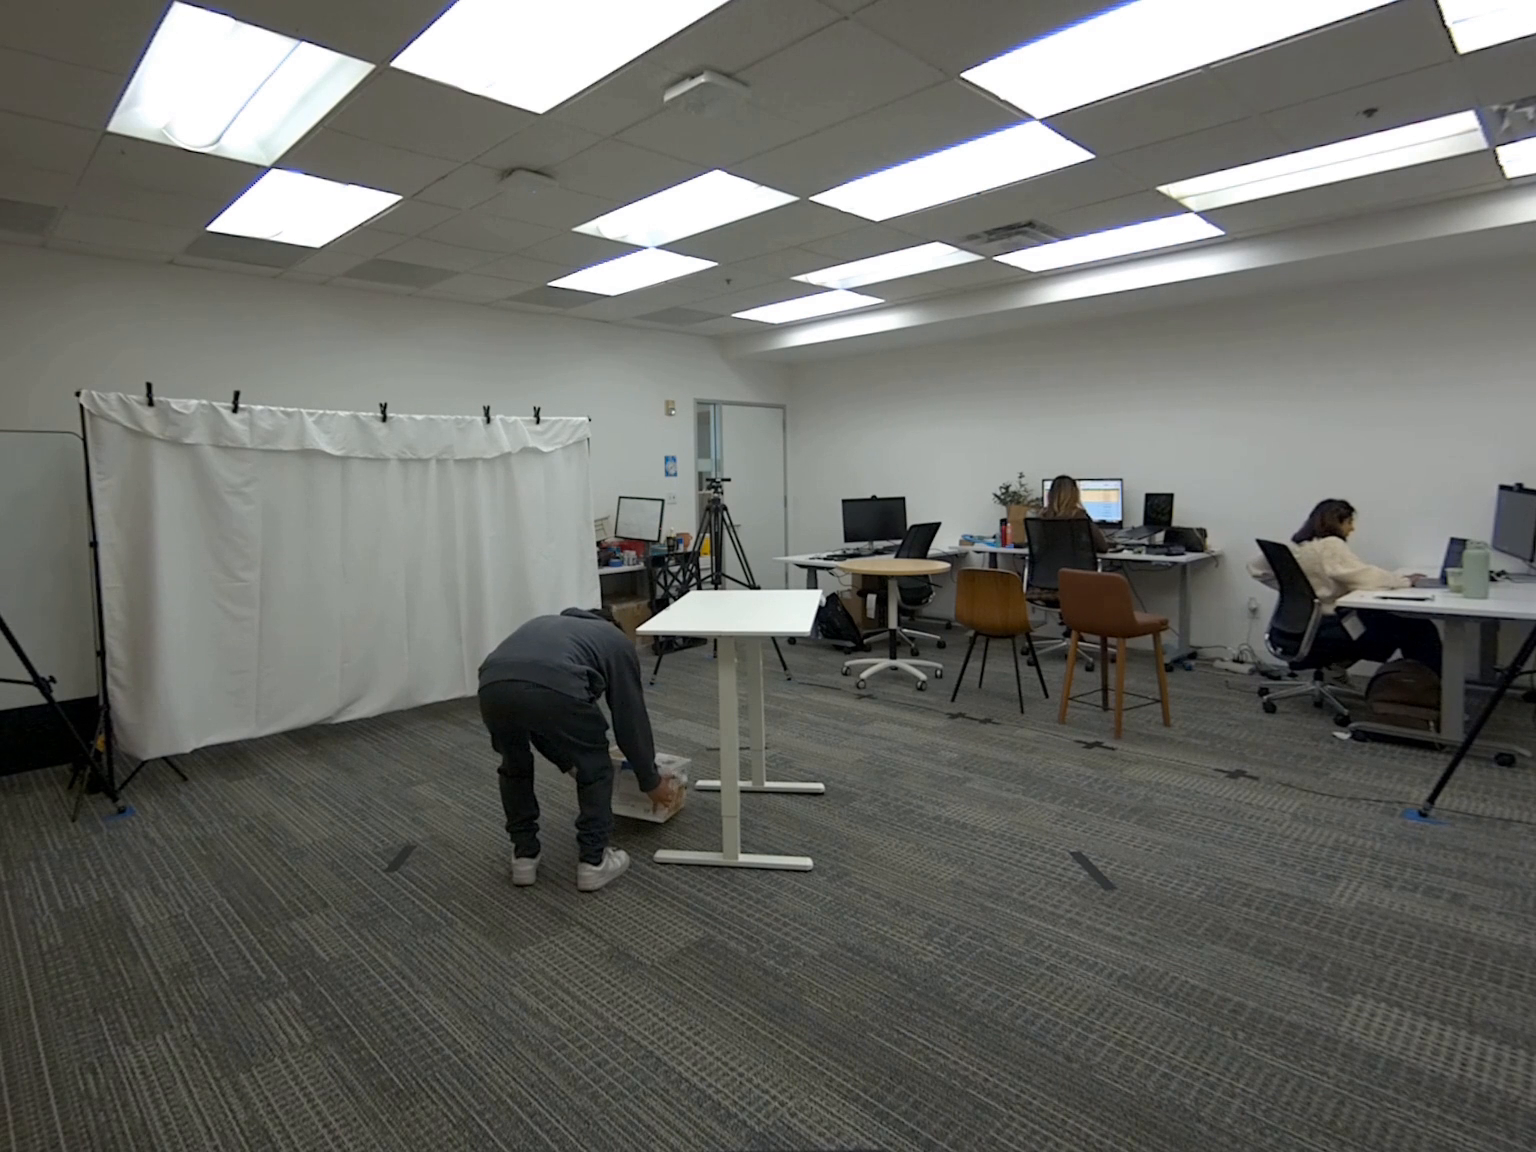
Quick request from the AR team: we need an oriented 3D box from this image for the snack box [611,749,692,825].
[{"bbox_3d":[-0.531,0.843,3.503,0.344,0.207,0.399,7,-6,8],"label":"snack box"}]
